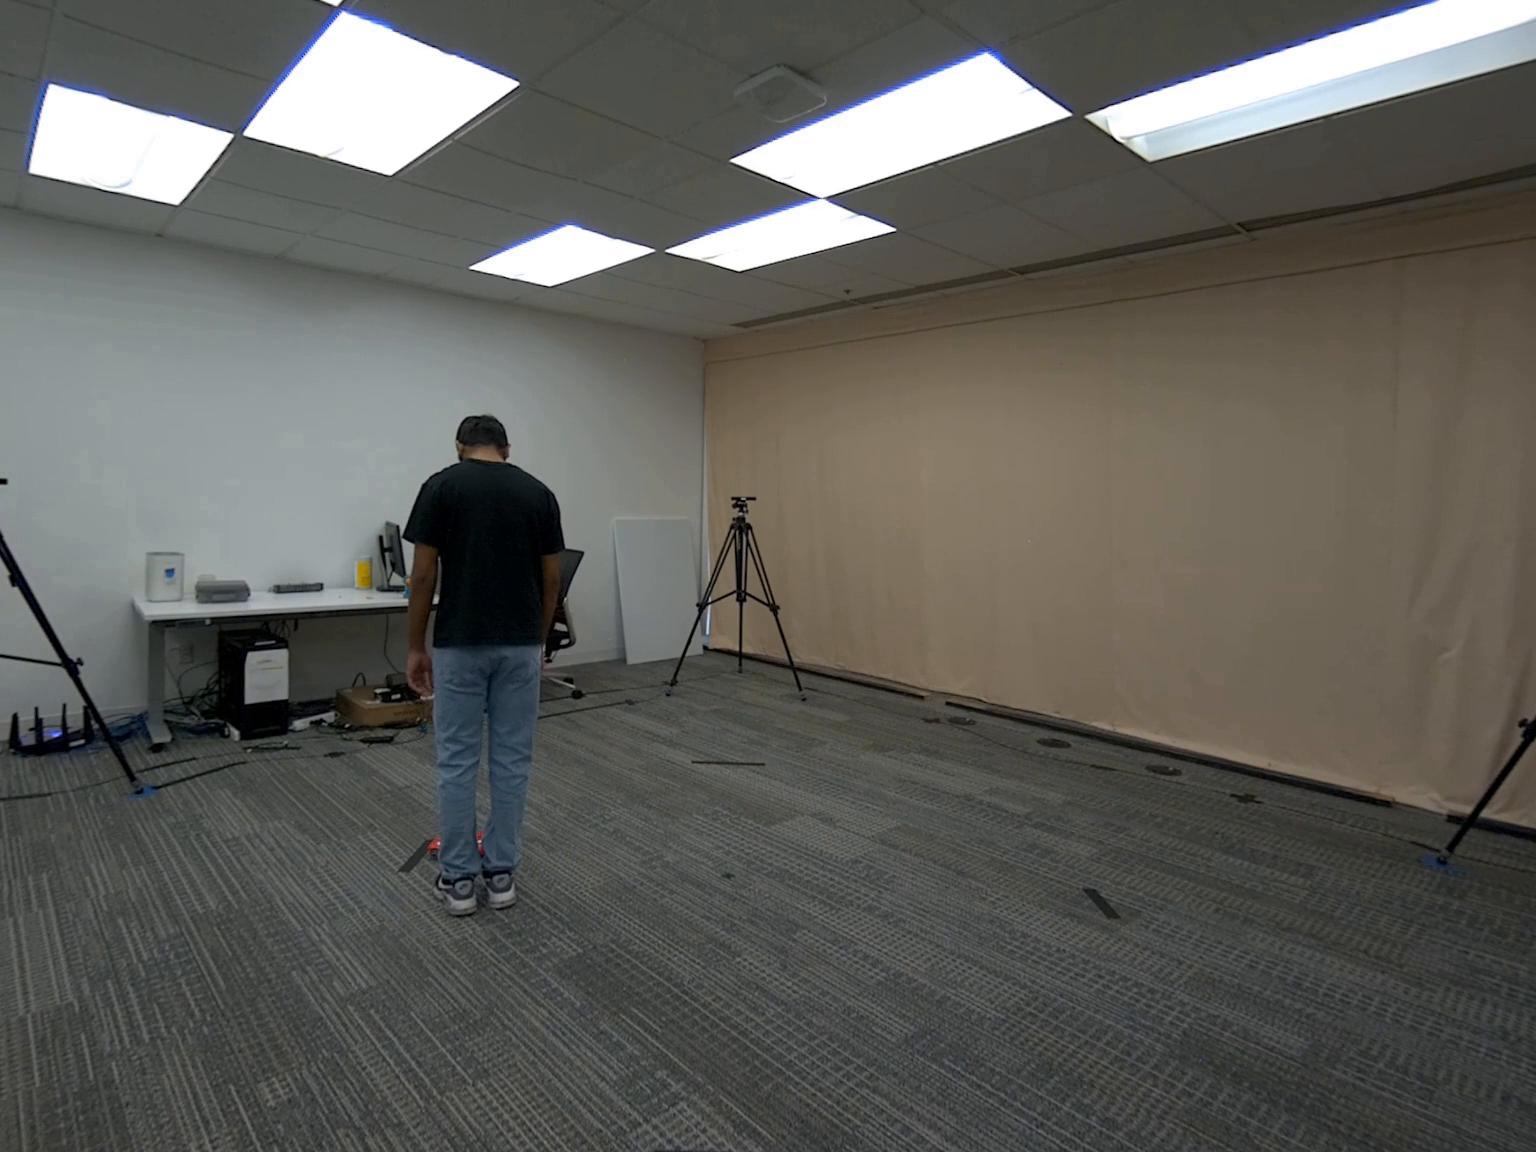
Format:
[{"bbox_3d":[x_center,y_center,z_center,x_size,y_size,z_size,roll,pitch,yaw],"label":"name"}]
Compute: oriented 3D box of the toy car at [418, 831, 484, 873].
[{"bbox_3d":[-1.178,1.047,3.231,0.255,0.083,0.130,-8,4,3],"label":"toy car"}]
